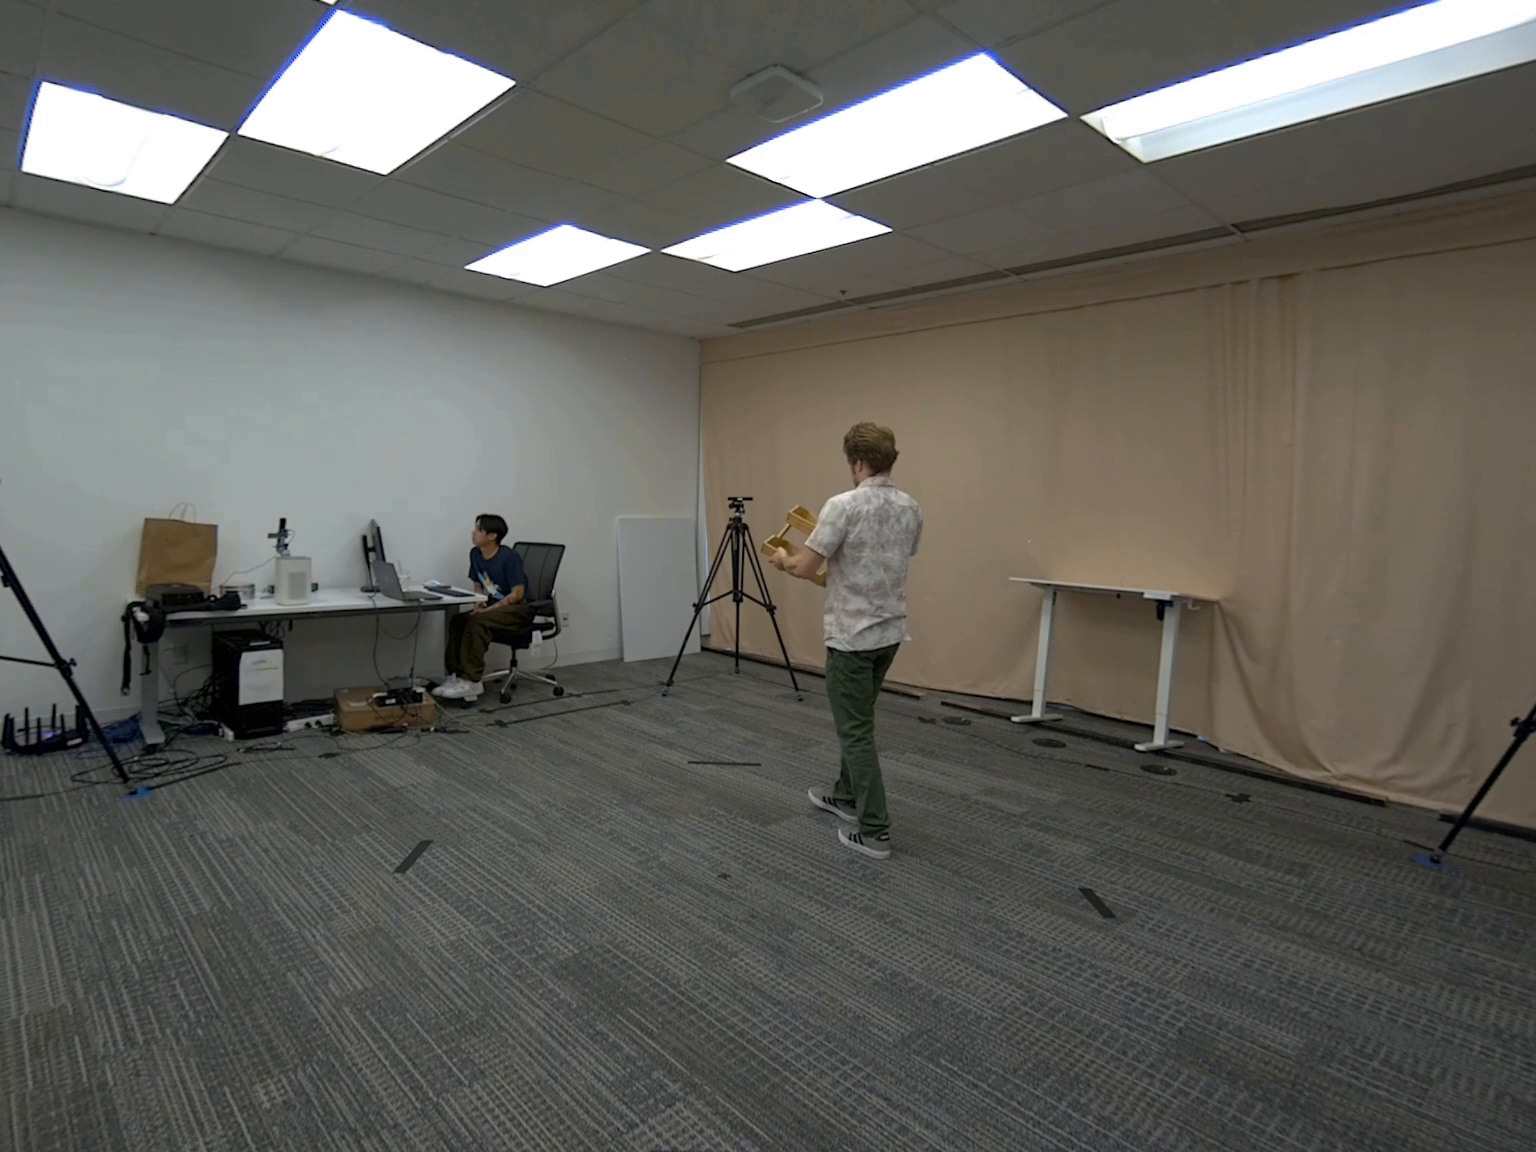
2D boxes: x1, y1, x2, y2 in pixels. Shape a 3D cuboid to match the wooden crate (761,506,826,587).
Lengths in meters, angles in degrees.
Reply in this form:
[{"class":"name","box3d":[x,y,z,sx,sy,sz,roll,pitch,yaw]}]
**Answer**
[{"class":"wooden crate","box3d":[0.192,-0.137,3.763,0.332,0.273,0.296,32,5,21]}]
